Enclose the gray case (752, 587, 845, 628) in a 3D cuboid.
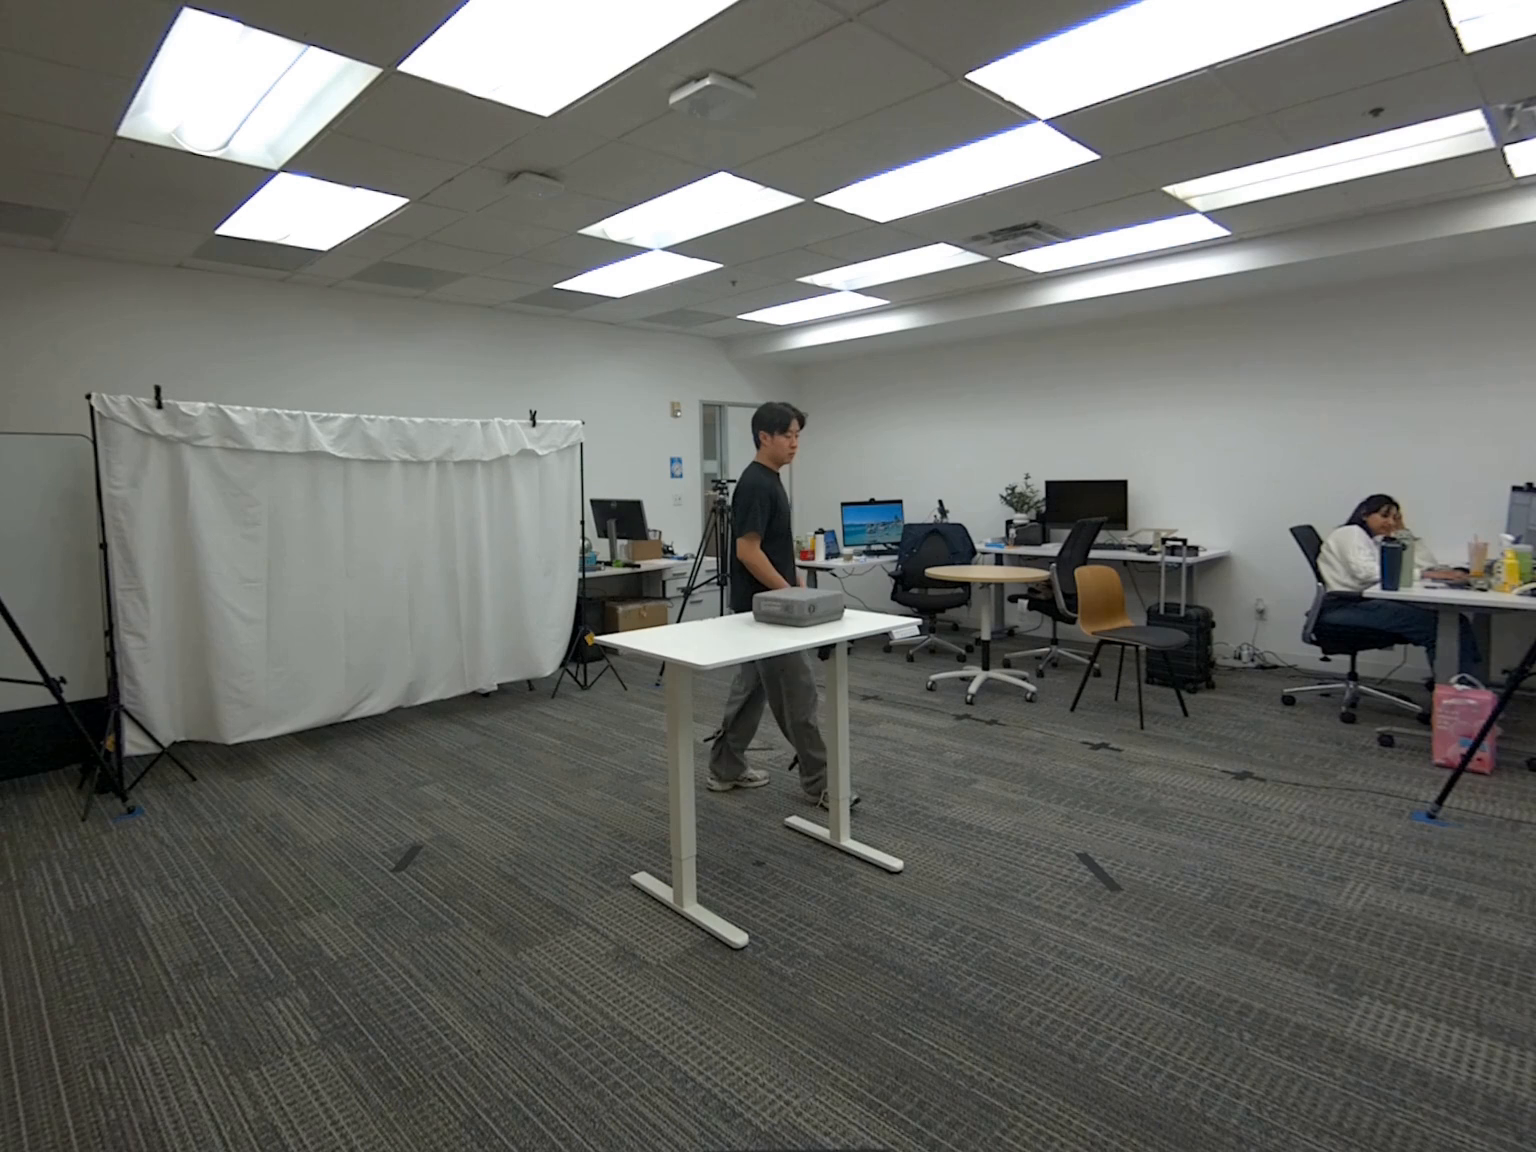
[{"bbox_3d":[0.100,0.112,3.085,0.271,0.102,0.280,4,9,42],"label":"gray case"}]
